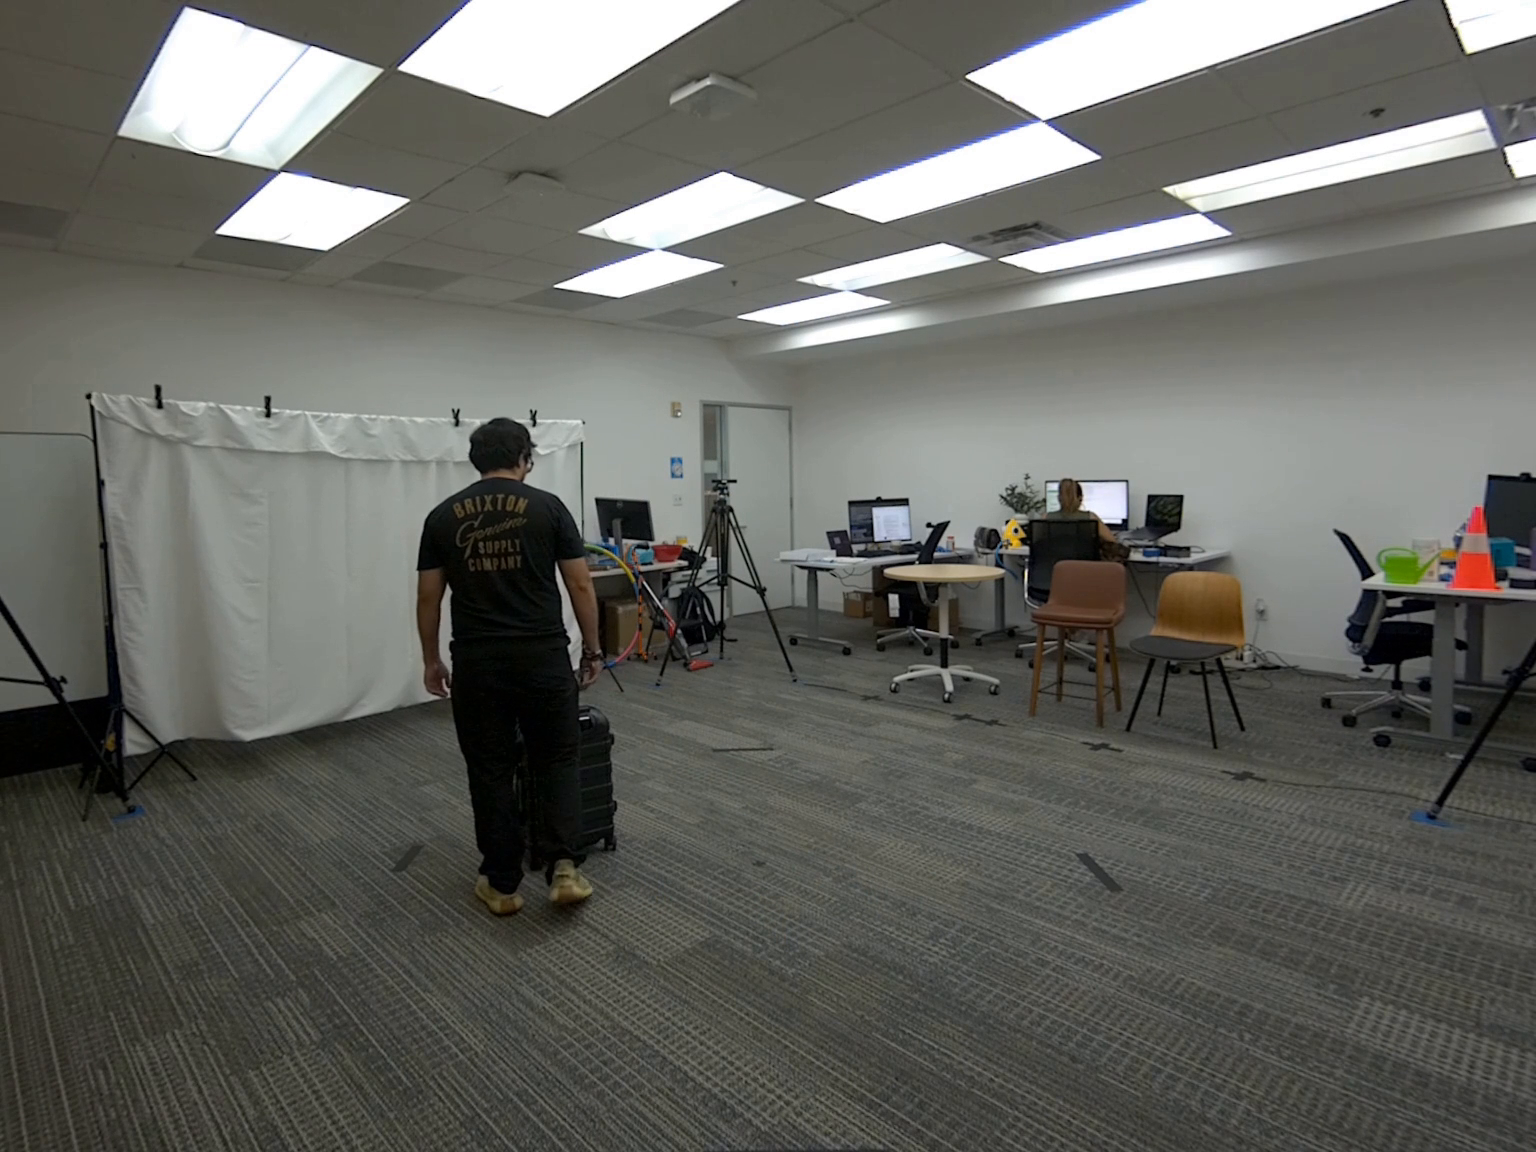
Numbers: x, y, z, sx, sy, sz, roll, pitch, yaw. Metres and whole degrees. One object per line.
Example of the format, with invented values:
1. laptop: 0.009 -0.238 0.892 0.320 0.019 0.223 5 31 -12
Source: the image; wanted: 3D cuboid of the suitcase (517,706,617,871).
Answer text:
1. suitcase: -0.786 0.772 3.234 0.366 0.546 0.255 -5 7 -32
